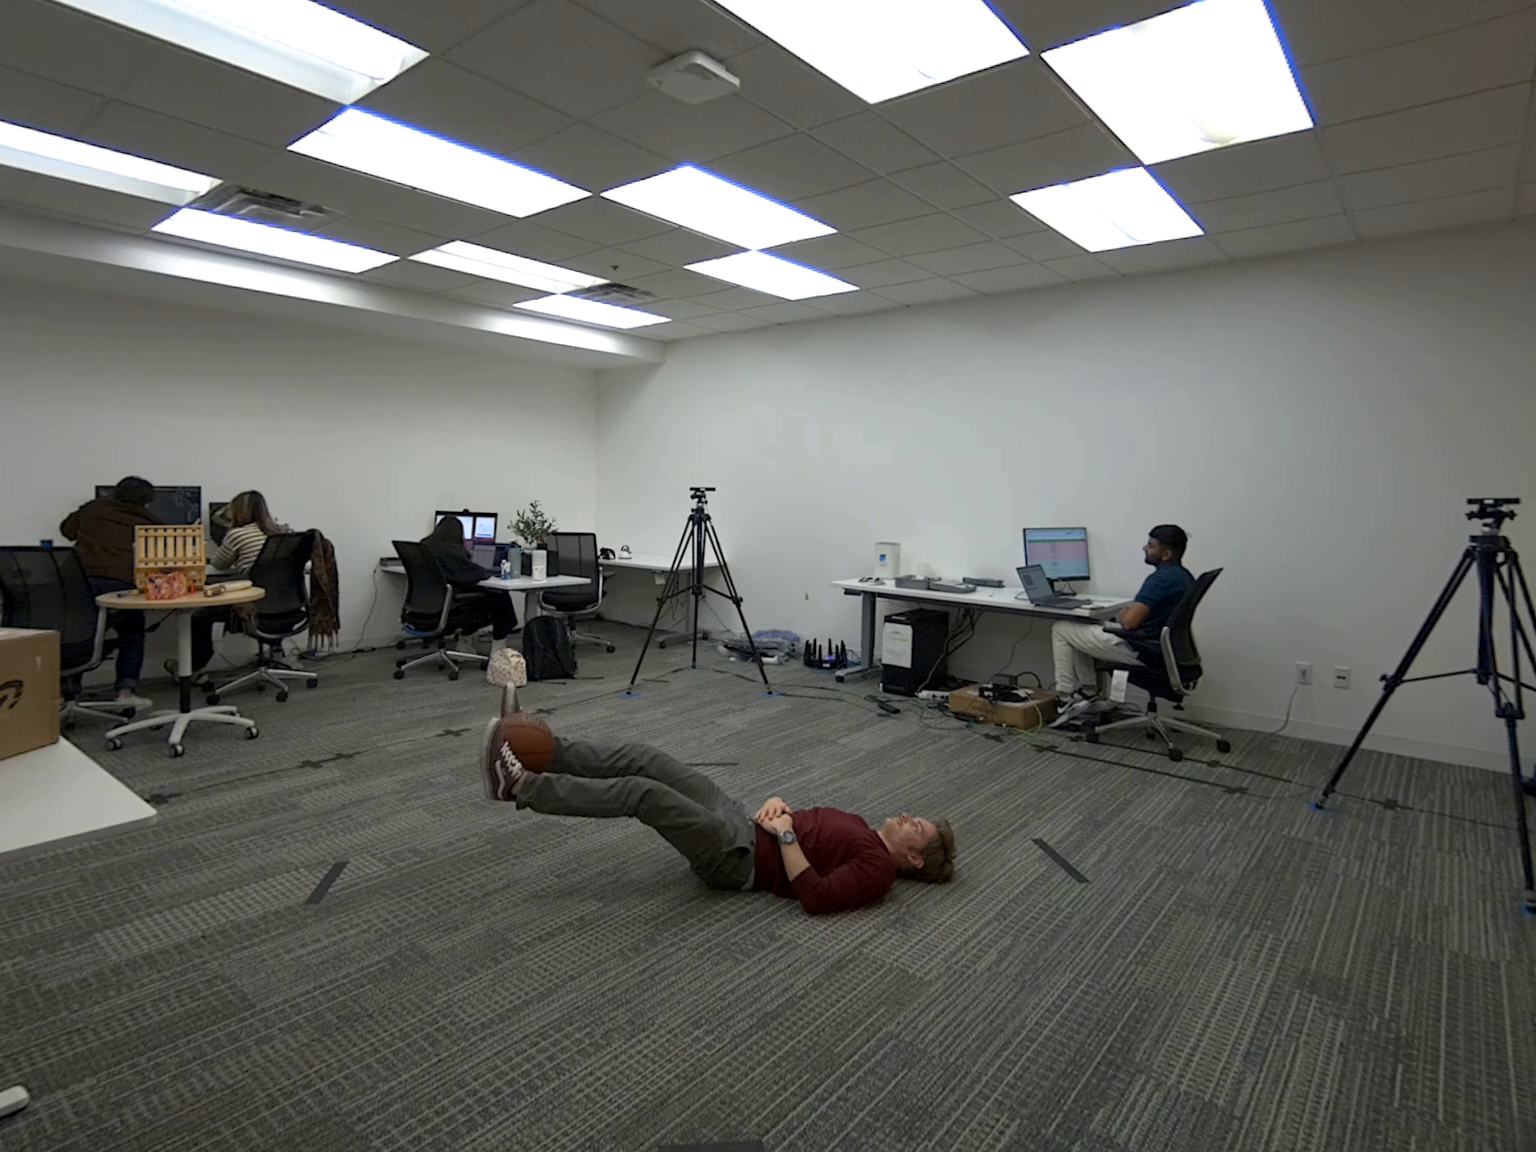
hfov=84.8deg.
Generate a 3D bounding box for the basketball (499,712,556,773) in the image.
[{"bbox_3d":[-0.872,0.590,2.970,0.236,0.235,0.237,-3,3,-2],"label":"basketball"}]
